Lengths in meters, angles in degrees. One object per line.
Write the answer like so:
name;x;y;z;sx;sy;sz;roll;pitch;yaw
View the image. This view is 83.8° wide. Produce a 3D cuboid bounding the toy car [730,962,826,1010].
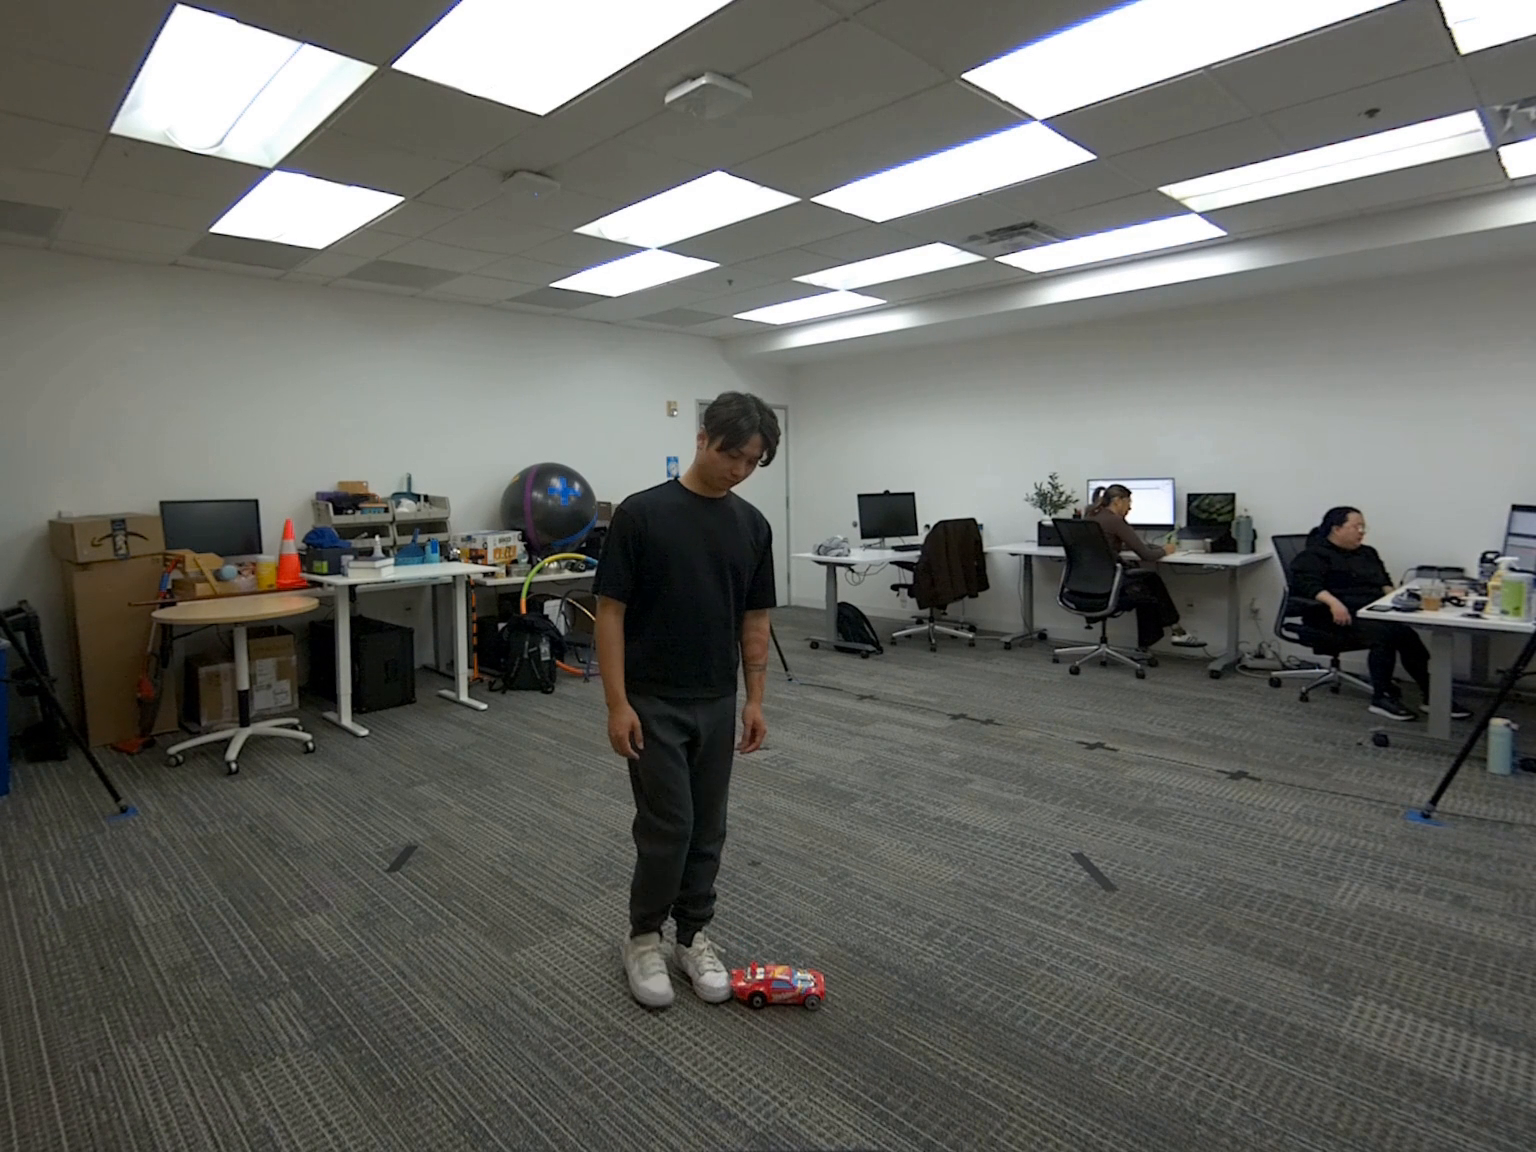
toy car;0.025;1.099;2.304;0.255;0.083;0.130;10;5;1
